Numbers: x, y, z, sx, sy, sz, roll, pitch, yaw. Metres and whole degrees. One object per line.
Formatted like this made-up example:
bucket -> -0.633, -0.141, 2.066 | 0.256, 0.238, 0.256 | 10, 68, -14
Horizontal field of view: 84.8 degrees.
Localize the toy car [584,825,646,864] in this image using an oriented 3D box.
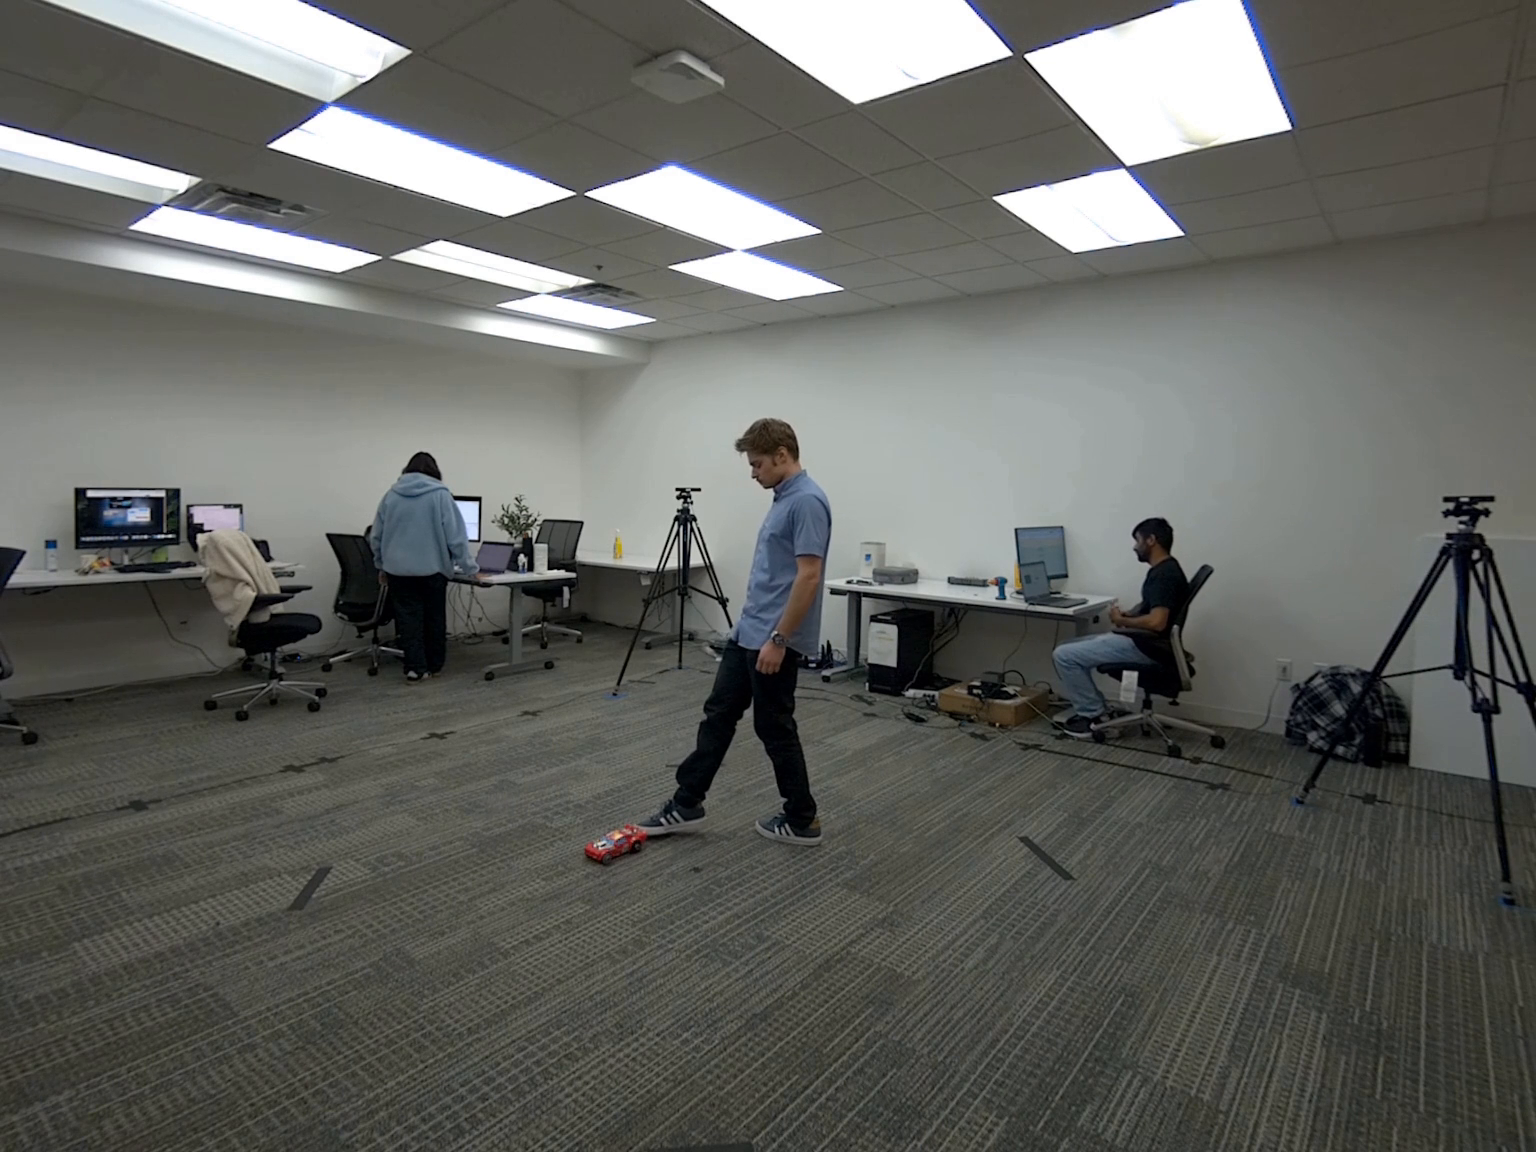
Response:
toy car -> -0.583, 1.018, 3.241 | 0.135, 0.082, 0.249 | 4, 17, 42
